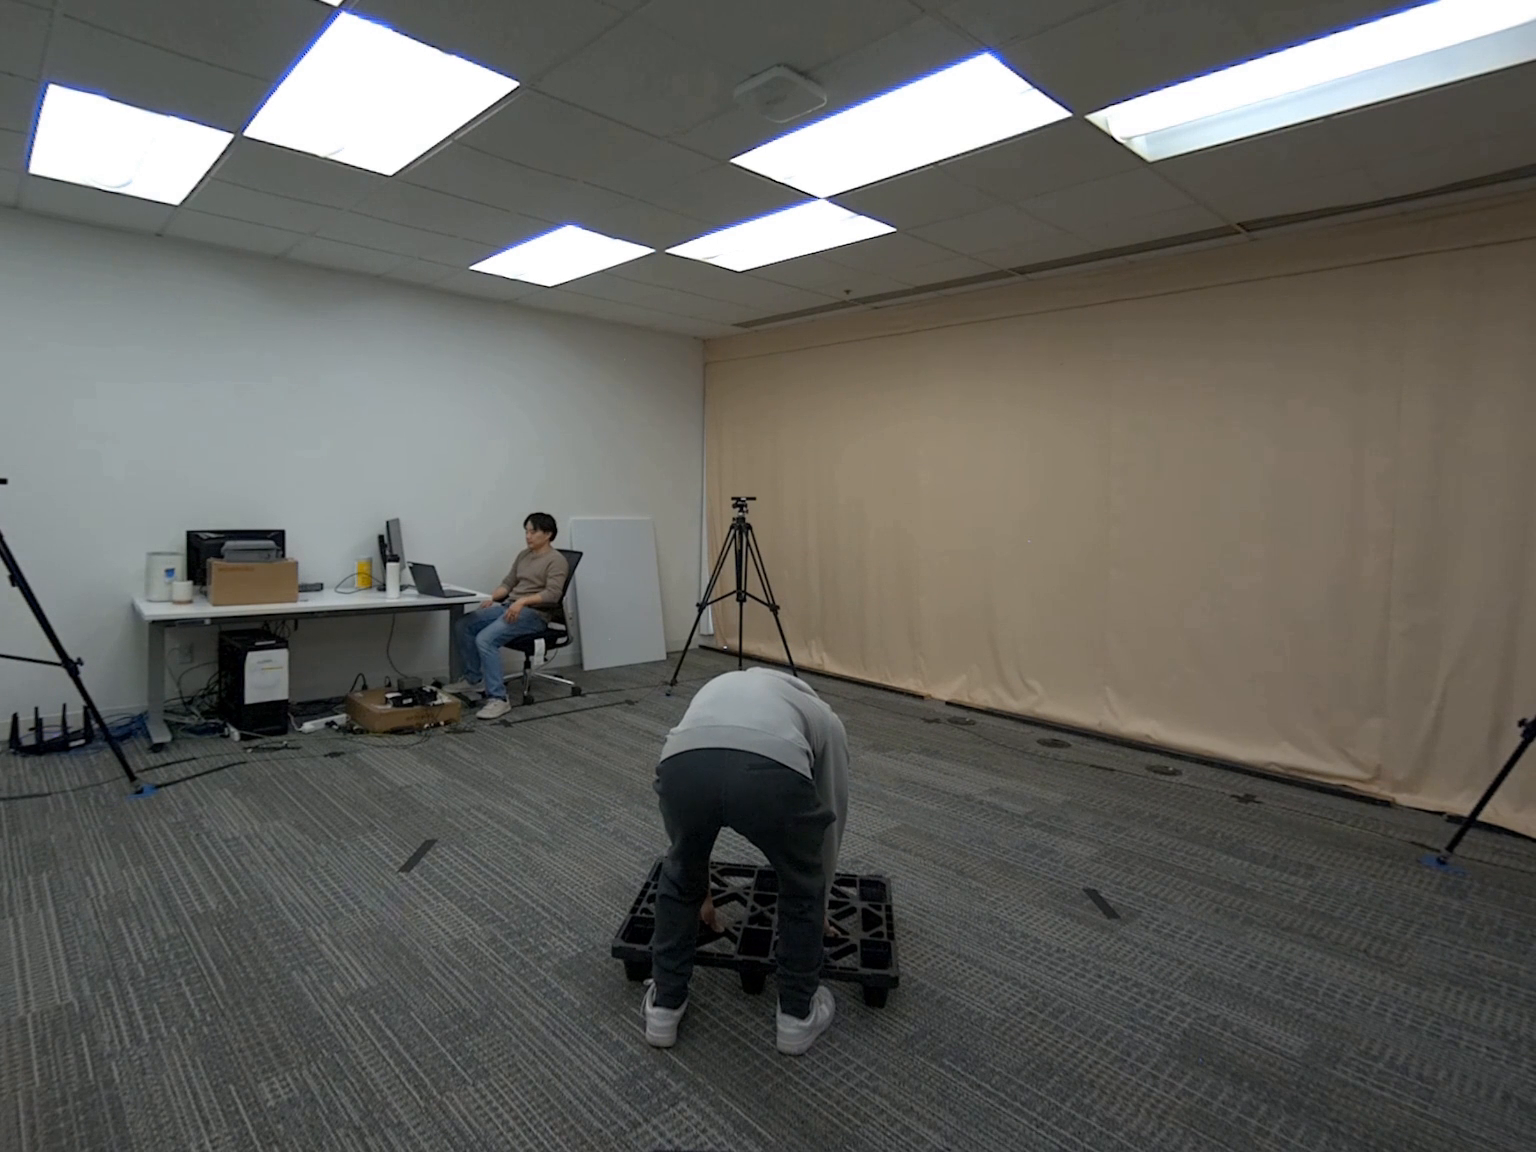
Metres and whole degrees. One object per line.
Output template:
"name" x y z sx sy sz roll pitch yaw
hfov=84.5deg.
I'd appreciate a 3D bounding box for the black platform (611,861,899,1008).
"black platform" -0.021 1.088 2.593 0.811 0.143 0.603 2 6 8
